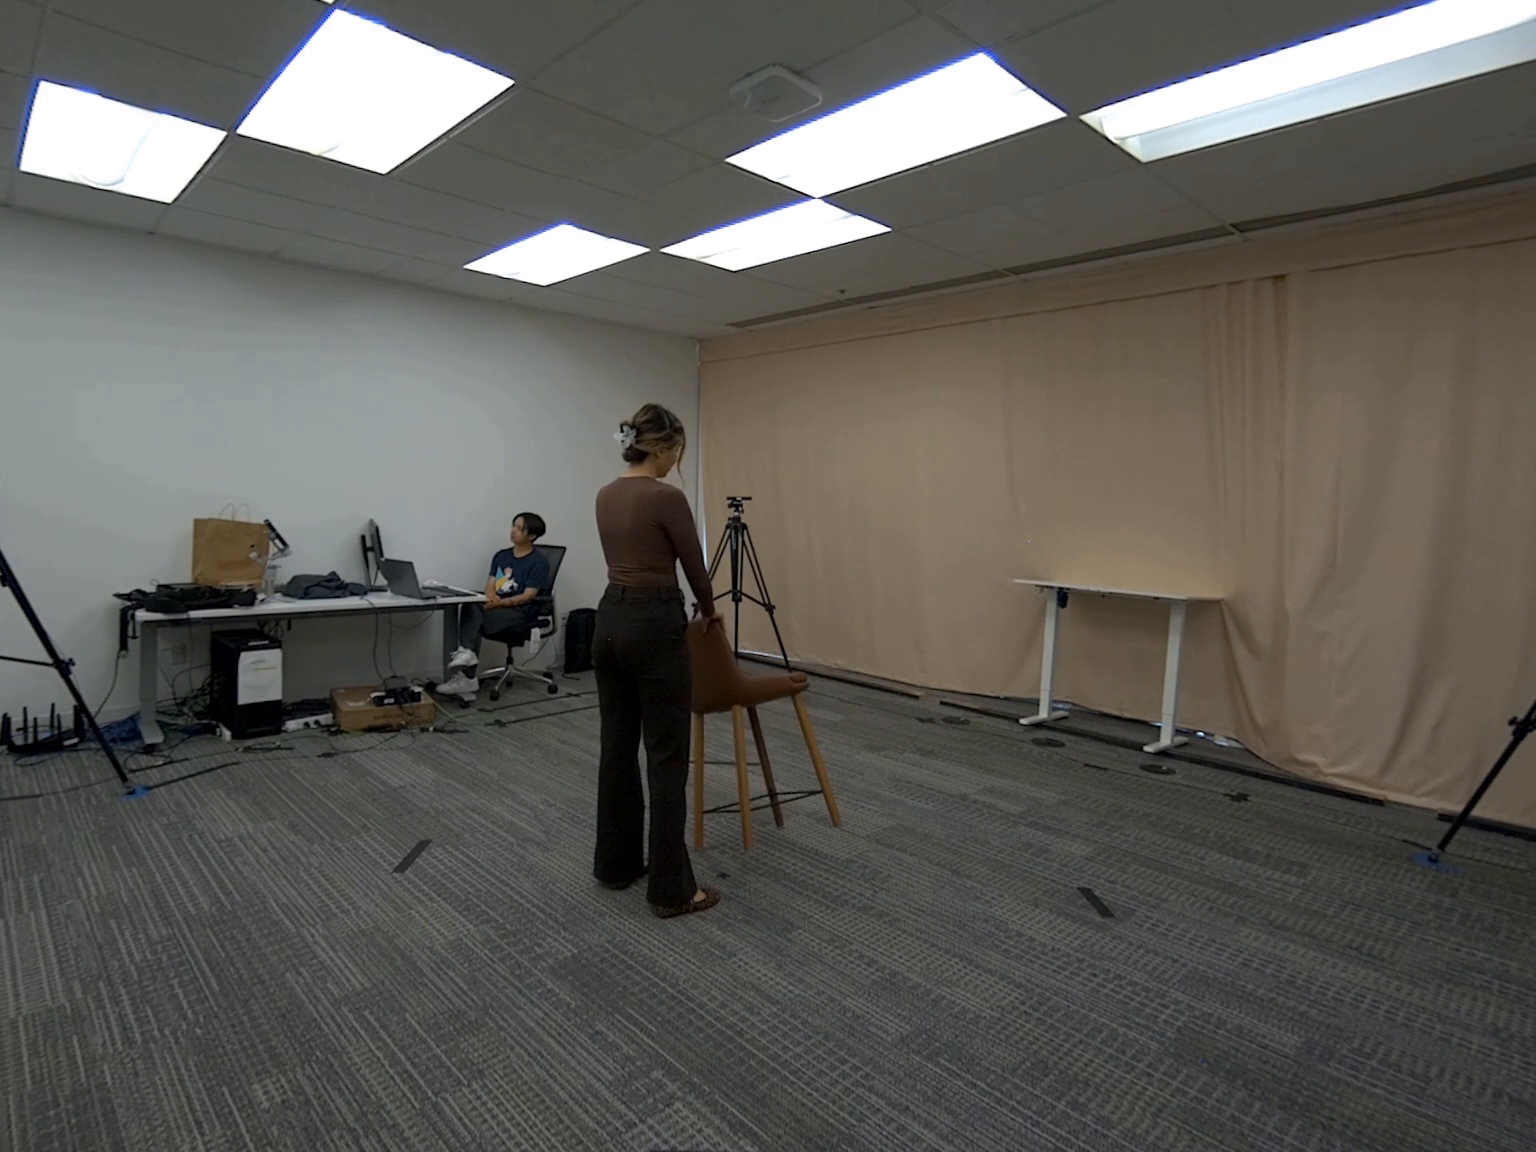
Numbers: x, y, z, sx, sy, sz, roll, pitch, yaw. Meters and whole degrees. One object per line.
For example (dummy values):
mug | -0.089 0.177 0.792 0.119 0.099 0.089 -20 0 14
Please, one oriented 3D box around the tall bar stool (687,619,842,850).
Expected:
tall bar stool | -0.096 0.610 3.396 0.458 0.898 0.462 -4 -13 -37
